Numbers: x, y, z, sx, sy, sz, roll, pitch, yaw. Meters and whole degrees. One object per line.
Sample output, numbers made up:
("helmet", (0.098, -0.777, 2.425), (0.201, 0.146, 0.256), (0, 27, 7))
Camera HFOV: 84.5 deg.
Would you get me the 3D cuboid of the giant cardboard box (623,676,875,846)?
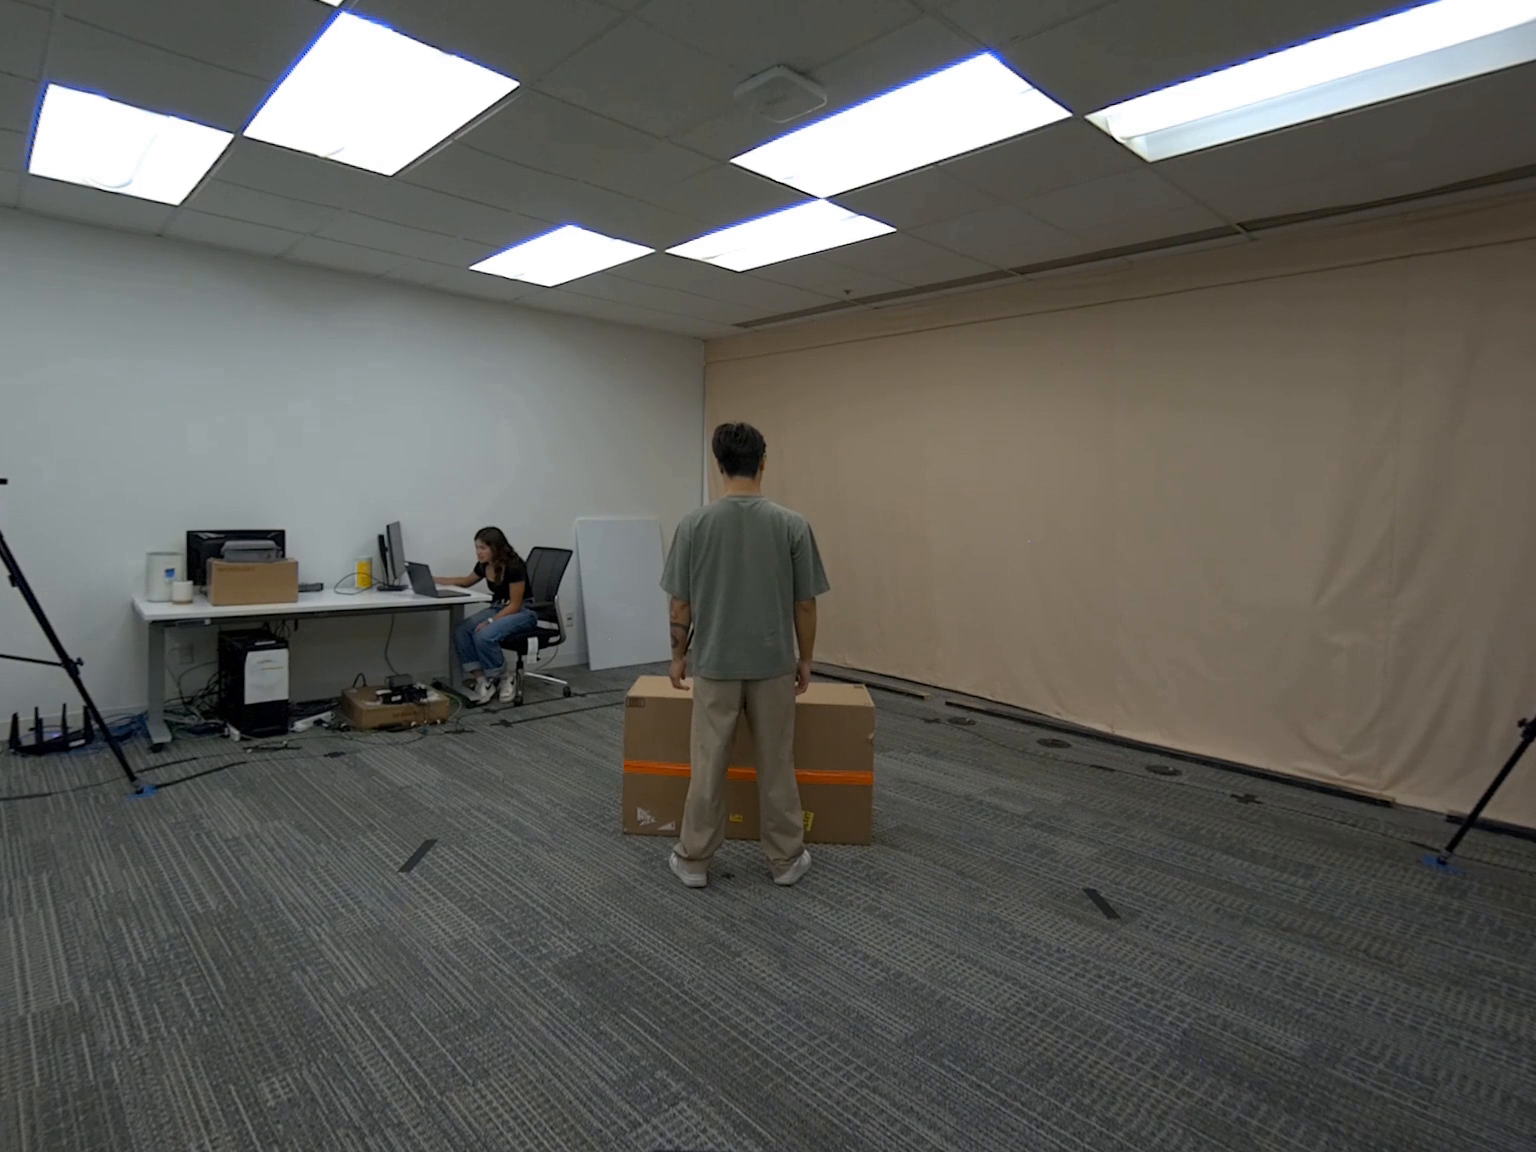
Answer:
("giant cardboard box", (-0.088, 0.768, 3.632), (1.028, 0.576, 0.427), (2, 4, 2))
